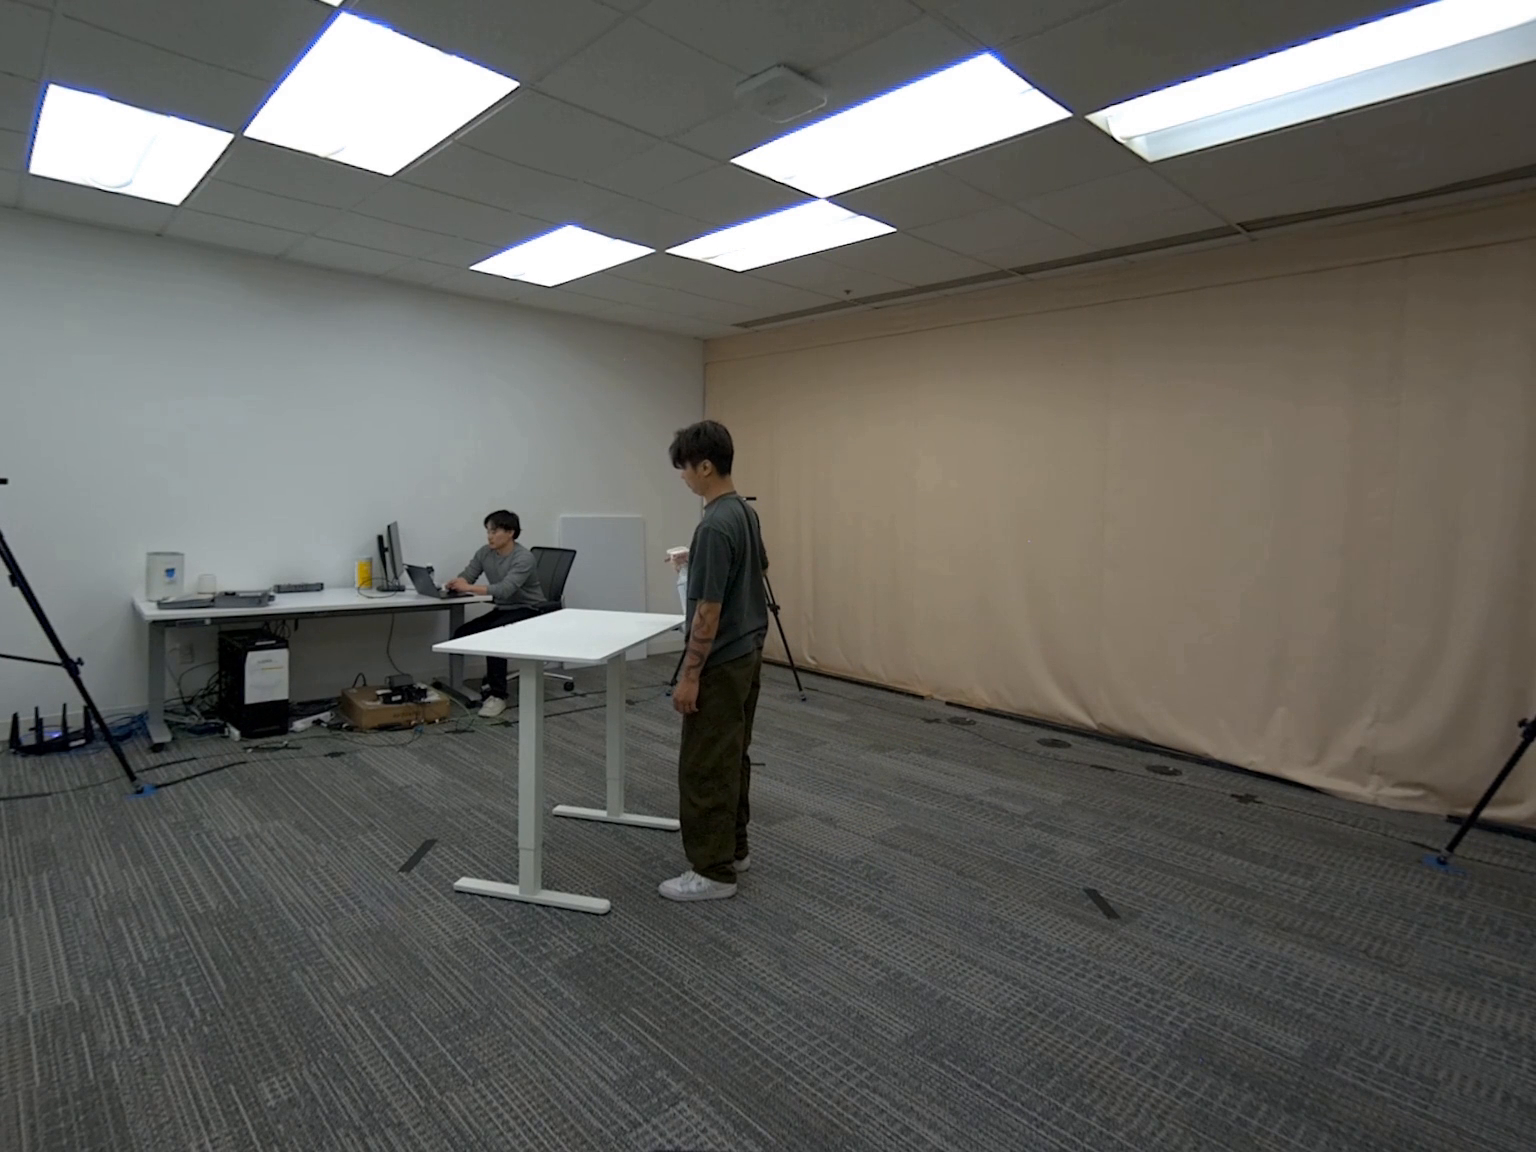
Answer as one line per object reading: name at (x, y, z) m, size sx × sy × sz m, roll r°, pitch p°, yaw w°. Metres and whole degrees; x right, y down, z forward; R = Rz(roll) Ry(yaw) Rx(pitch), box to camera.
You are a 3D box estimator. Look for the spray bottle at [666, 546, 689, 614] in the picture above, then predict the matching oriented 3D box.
spray bottle at (-0.326, 0.033, 3.350) m, size 0.091 × 0.298 × 0.085 m, roll -17°, pitch -2°, yaw 30°
